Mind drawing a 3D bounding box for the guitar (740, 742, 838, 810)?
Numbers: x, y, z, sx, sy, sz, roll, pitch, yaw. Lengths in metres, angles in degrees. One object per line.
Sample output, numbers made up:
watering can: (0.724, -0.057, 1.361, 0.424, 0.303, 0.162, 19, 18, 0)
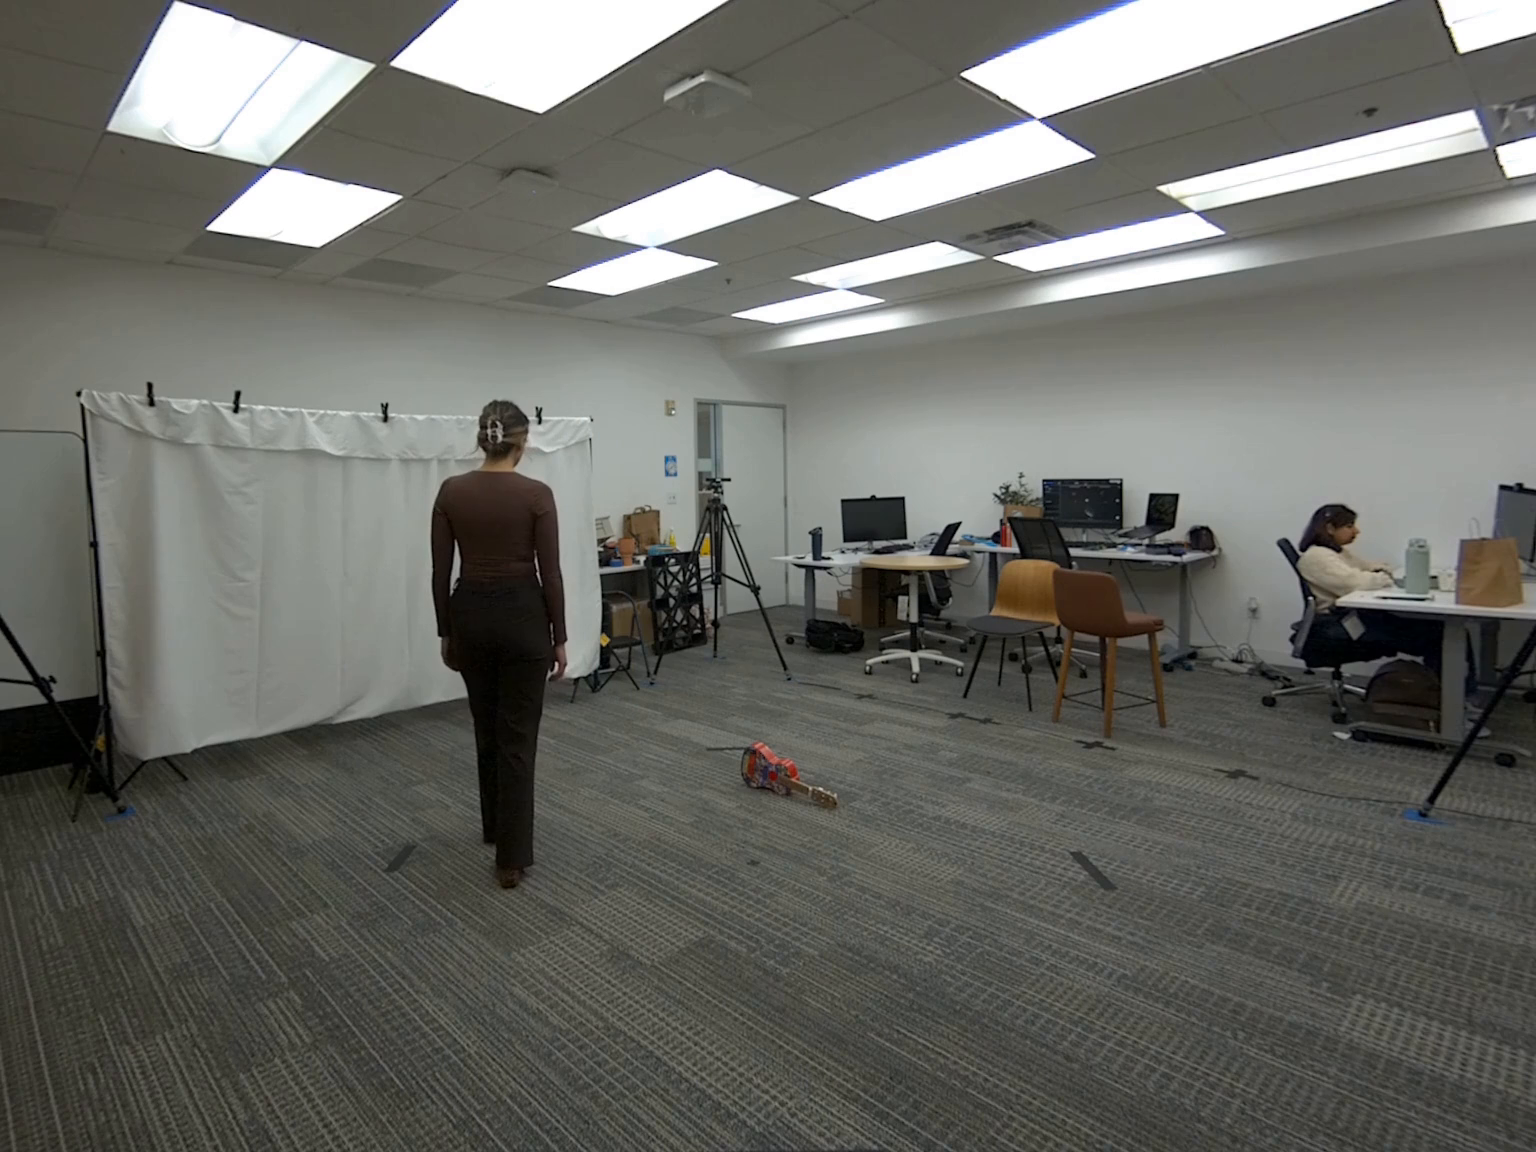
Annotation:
guitar: (0.092, 0.924, 3.766, 0.515, 0.191, 0.069, 24, 19, 32)
